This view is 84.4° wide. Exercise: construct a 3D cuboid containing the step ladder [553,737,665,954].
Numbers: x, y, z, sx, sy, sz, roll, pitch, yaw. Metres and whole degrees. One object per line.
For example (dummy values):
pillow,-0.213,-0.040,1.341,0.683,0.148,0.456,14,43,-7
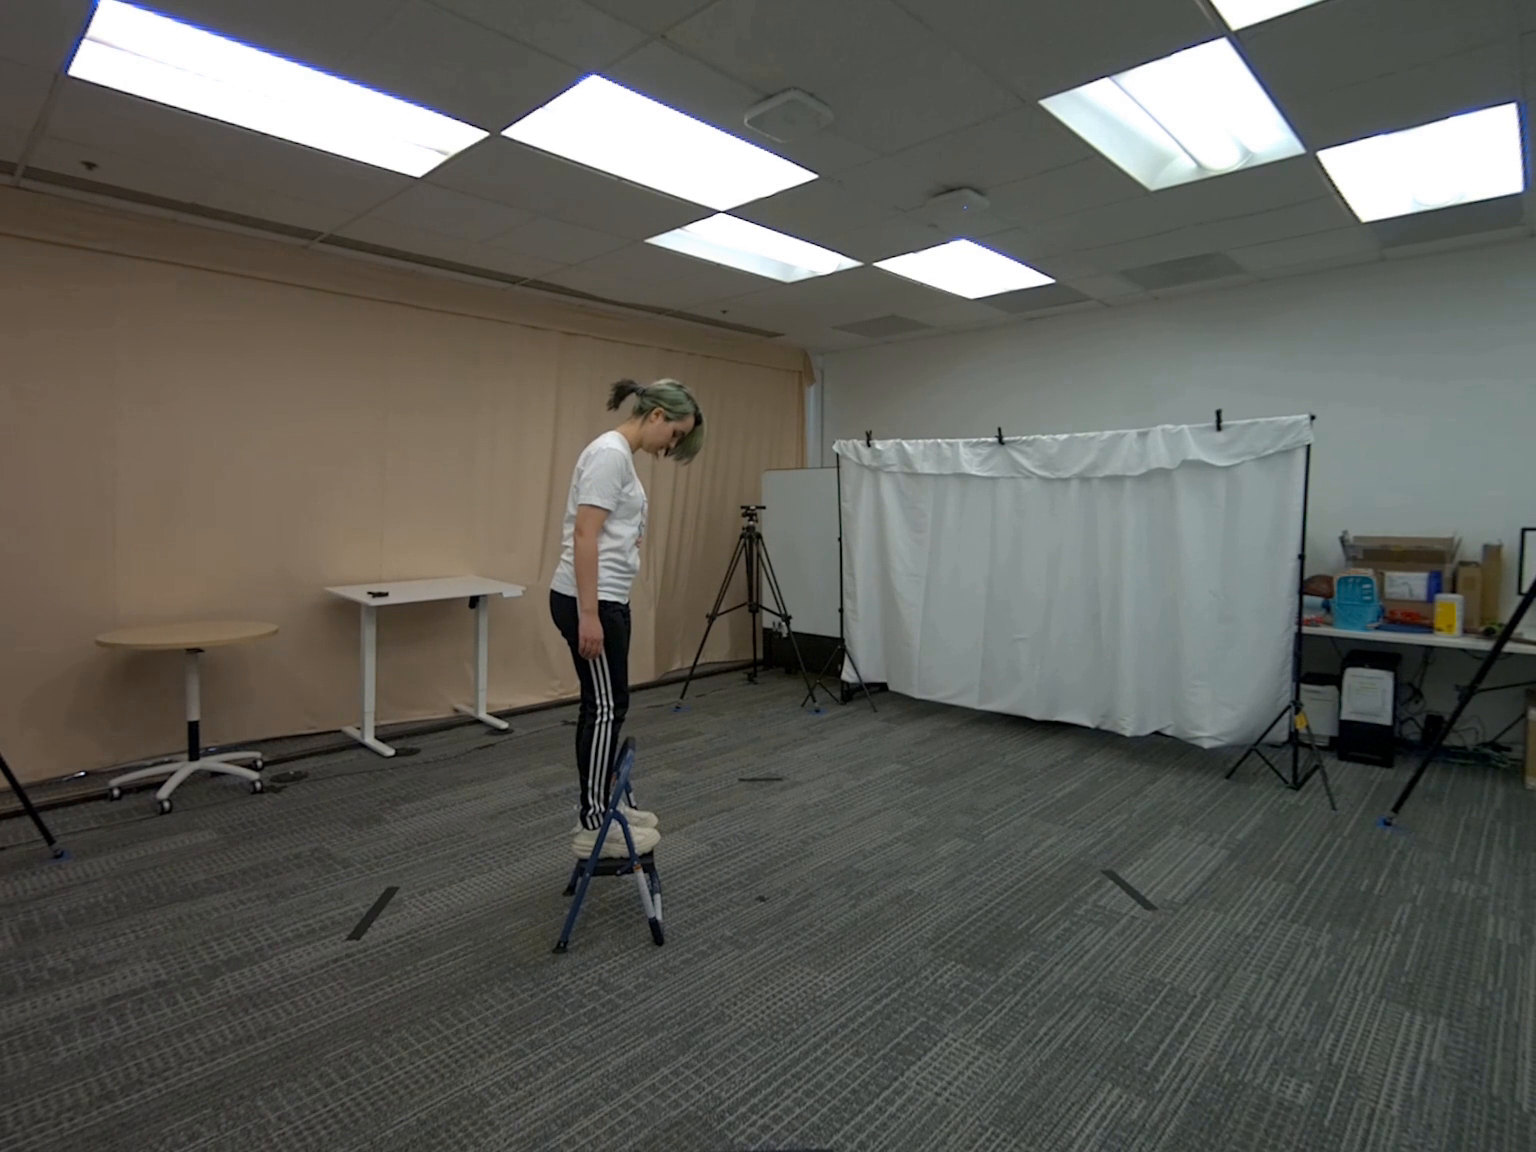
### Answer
step ladder,-0.532,0.863,2.836,0.347,0.605,0.435,-2,3,-8
